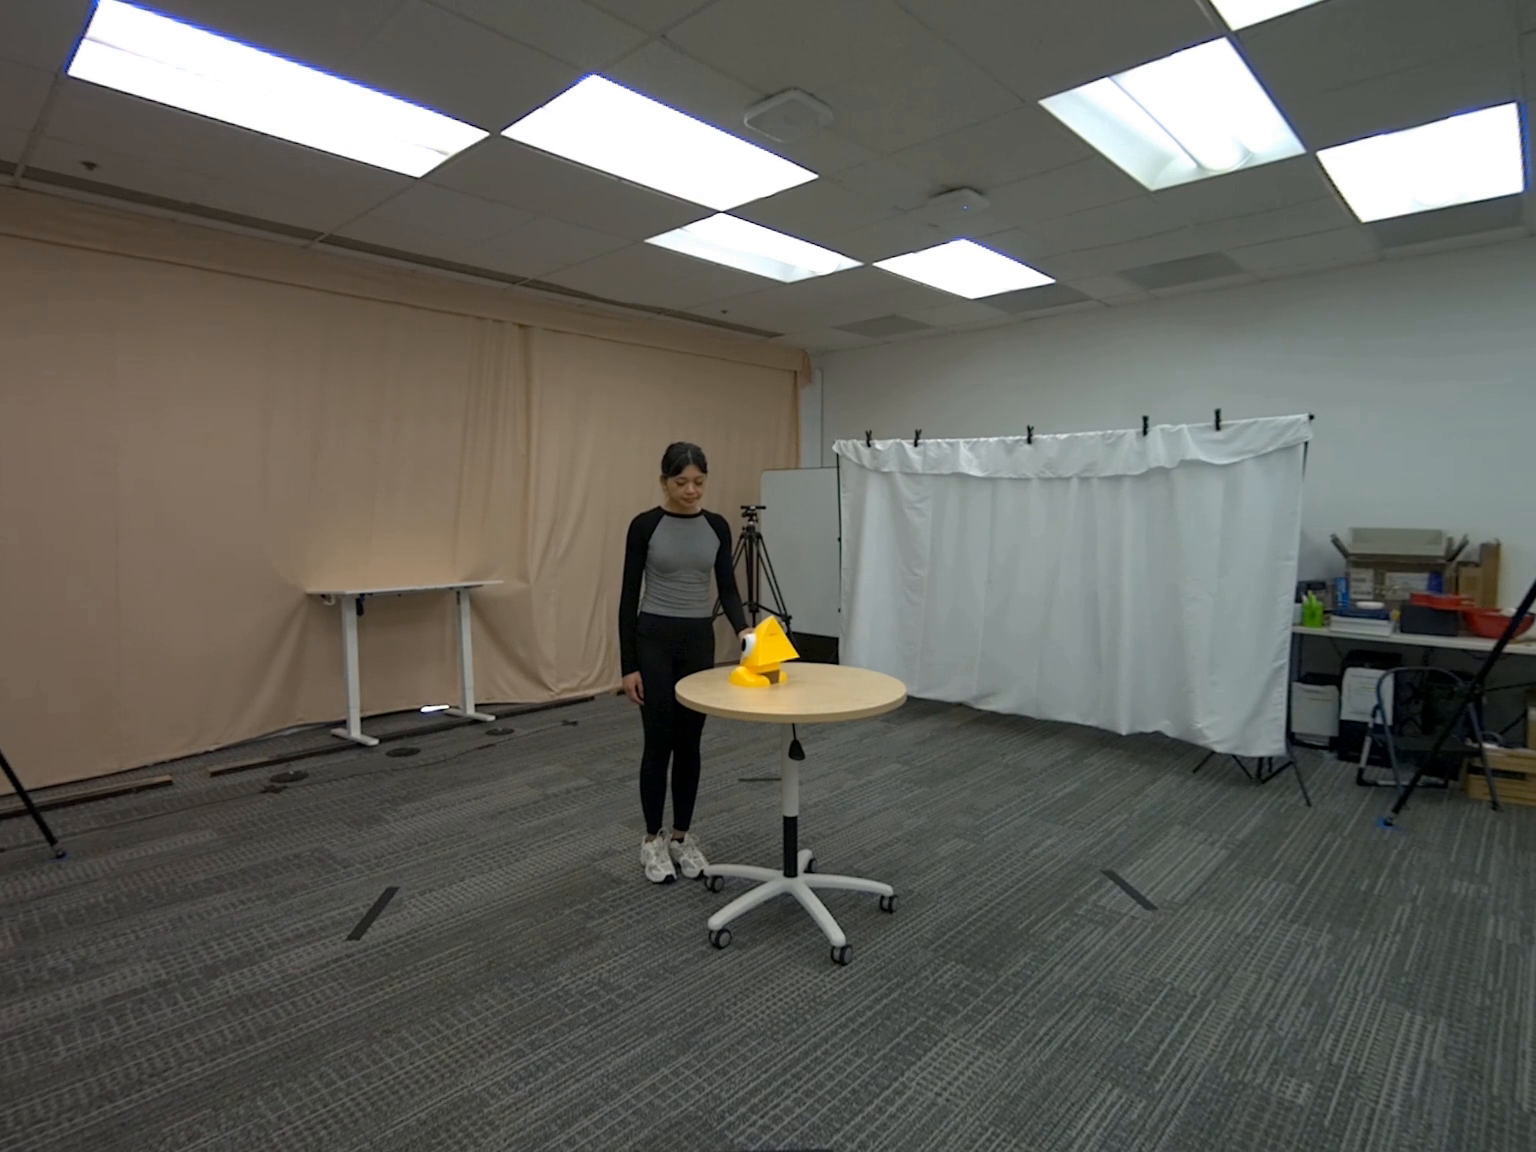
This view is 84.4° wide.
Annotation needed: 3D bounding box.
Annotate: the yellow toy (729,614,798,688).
[{"bbox_3d":[-0.025,0.247,2.887,0.199,0.230,0.198,3,6,44],"label":"yellow toy"}]
